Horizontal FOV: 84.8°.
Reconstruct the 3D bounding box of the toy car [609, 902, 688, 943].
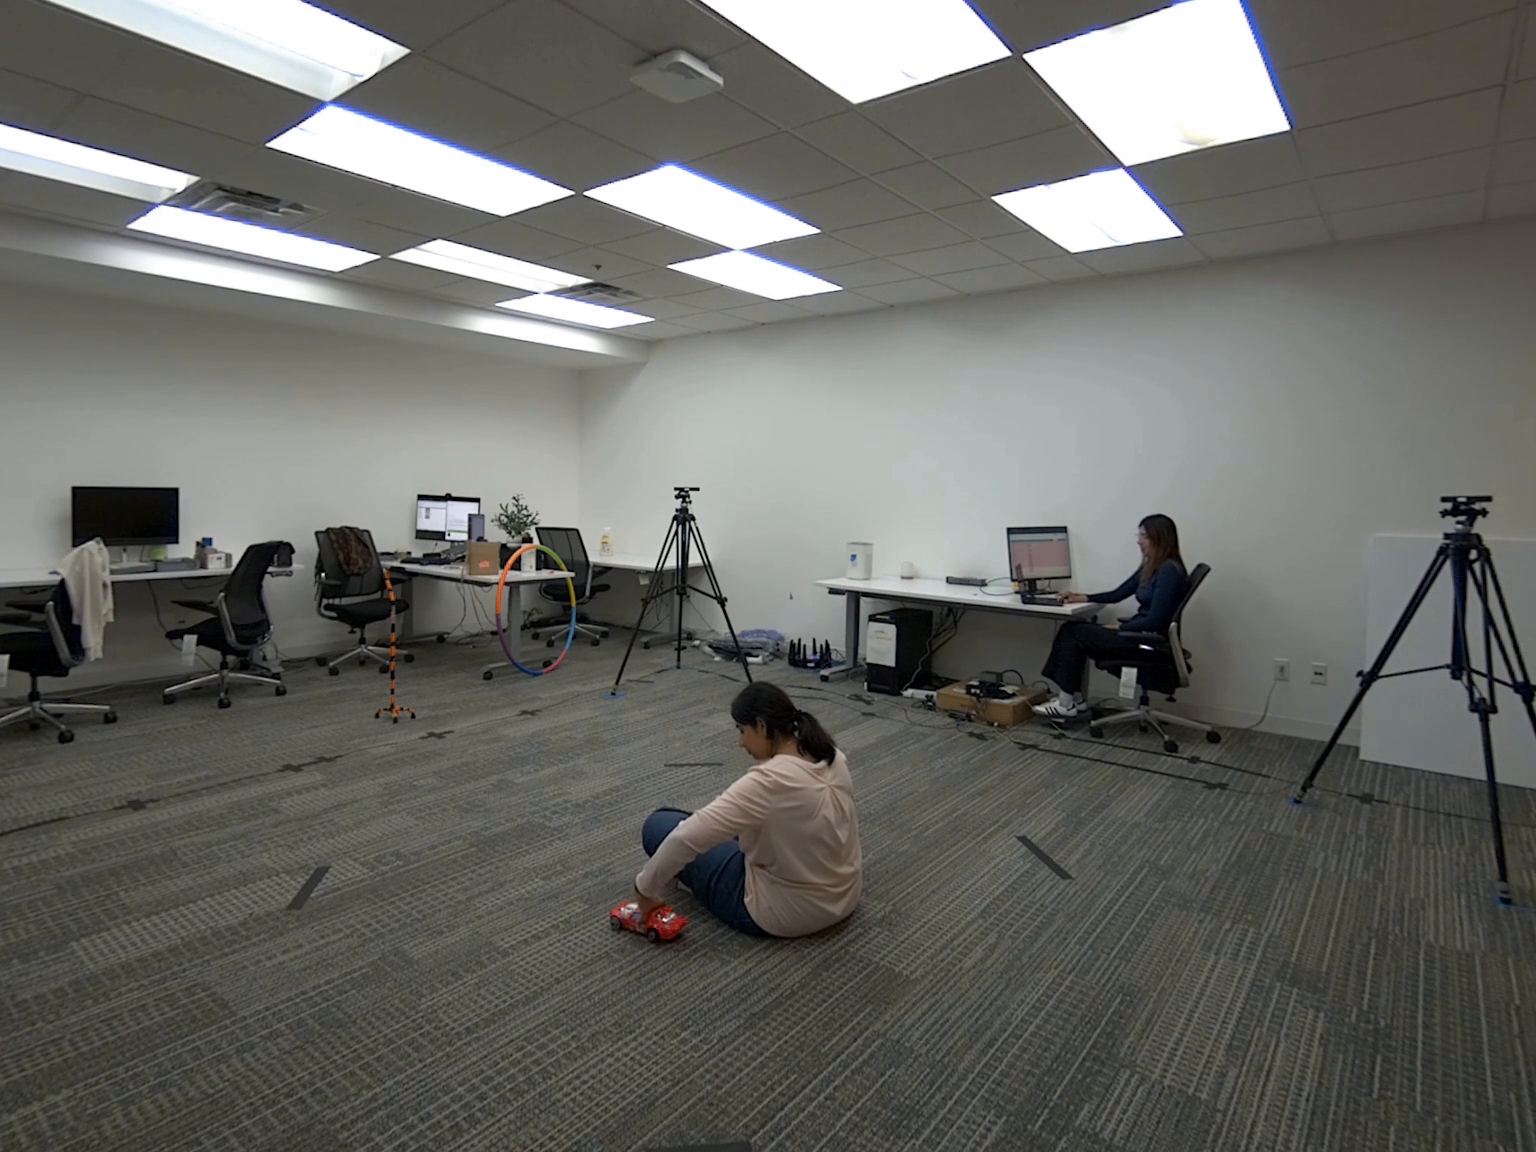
[{"bbox_3d":[-0.382,1.081,2.652,0.261,0.083,0.127,-6,-1,30],"label":"toy car"}]
